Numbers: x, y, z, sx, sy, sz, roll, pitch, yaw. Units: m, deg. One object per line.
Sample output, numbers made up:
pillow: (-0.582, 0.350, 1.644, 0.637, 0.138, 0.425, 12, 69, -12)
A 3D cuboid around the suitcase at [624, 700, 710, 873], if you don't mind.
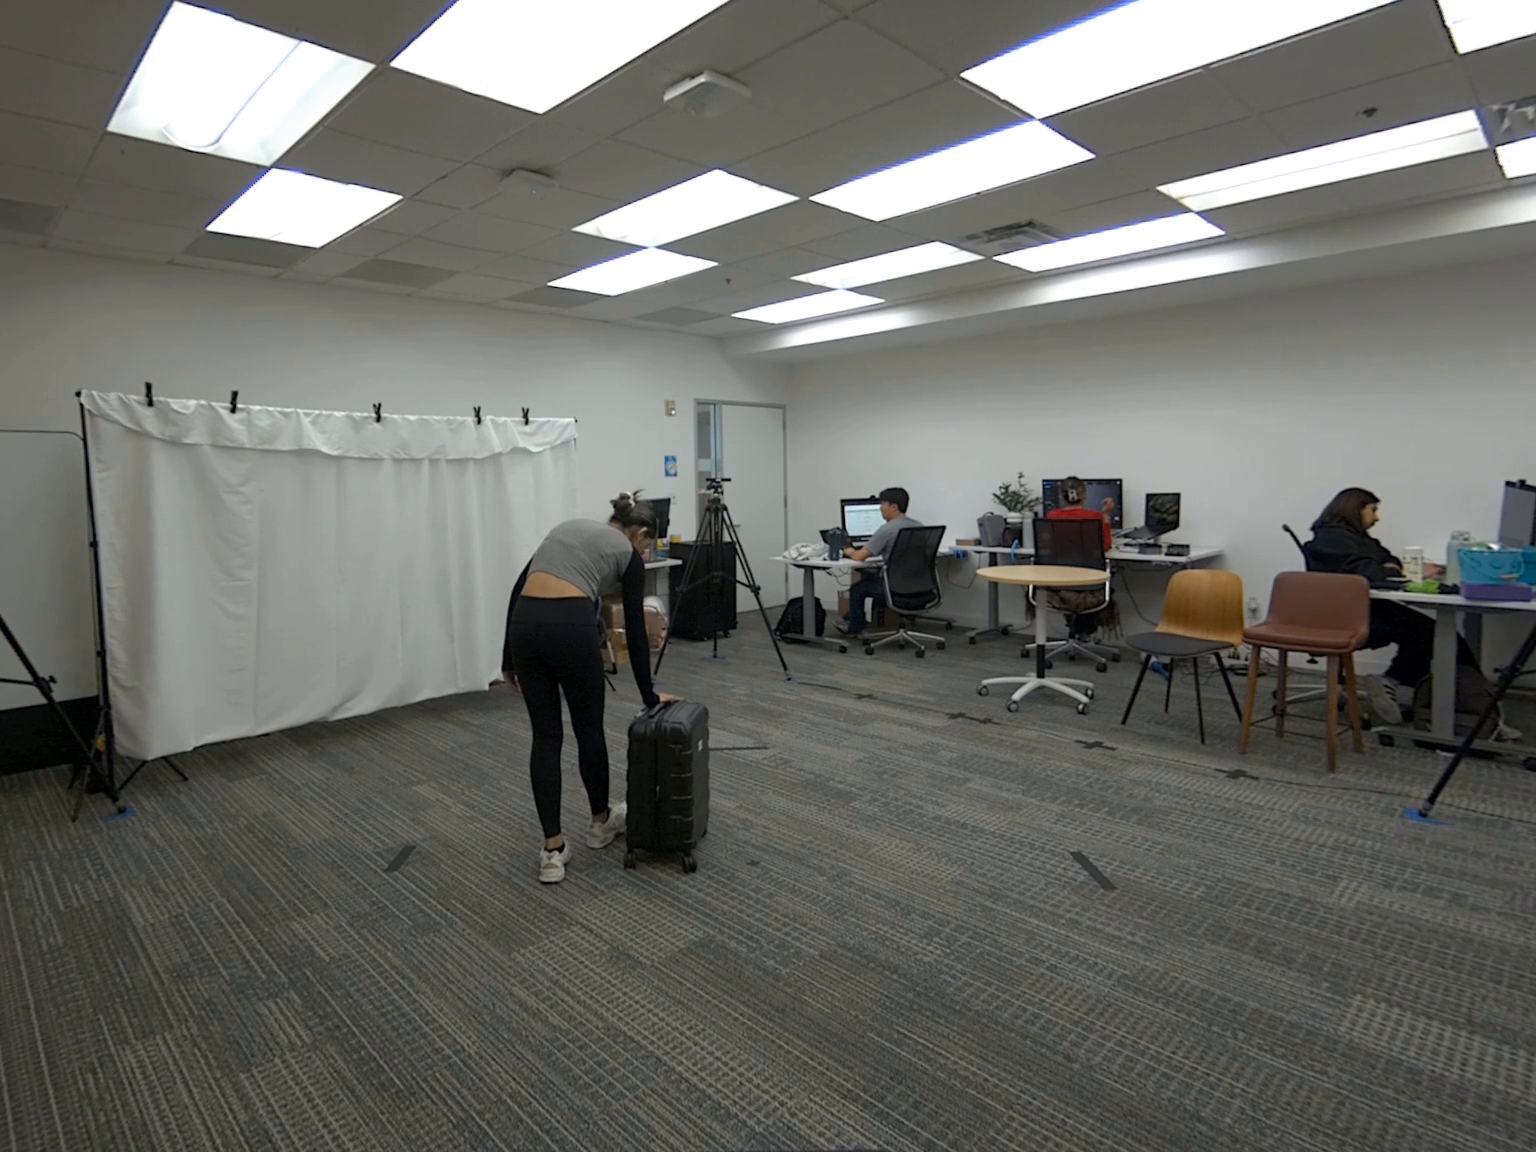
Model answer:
suitcase: (-0.369, 0.758, 3.219, 0.251, 0.548, 0.372, 1, 3, 11)
